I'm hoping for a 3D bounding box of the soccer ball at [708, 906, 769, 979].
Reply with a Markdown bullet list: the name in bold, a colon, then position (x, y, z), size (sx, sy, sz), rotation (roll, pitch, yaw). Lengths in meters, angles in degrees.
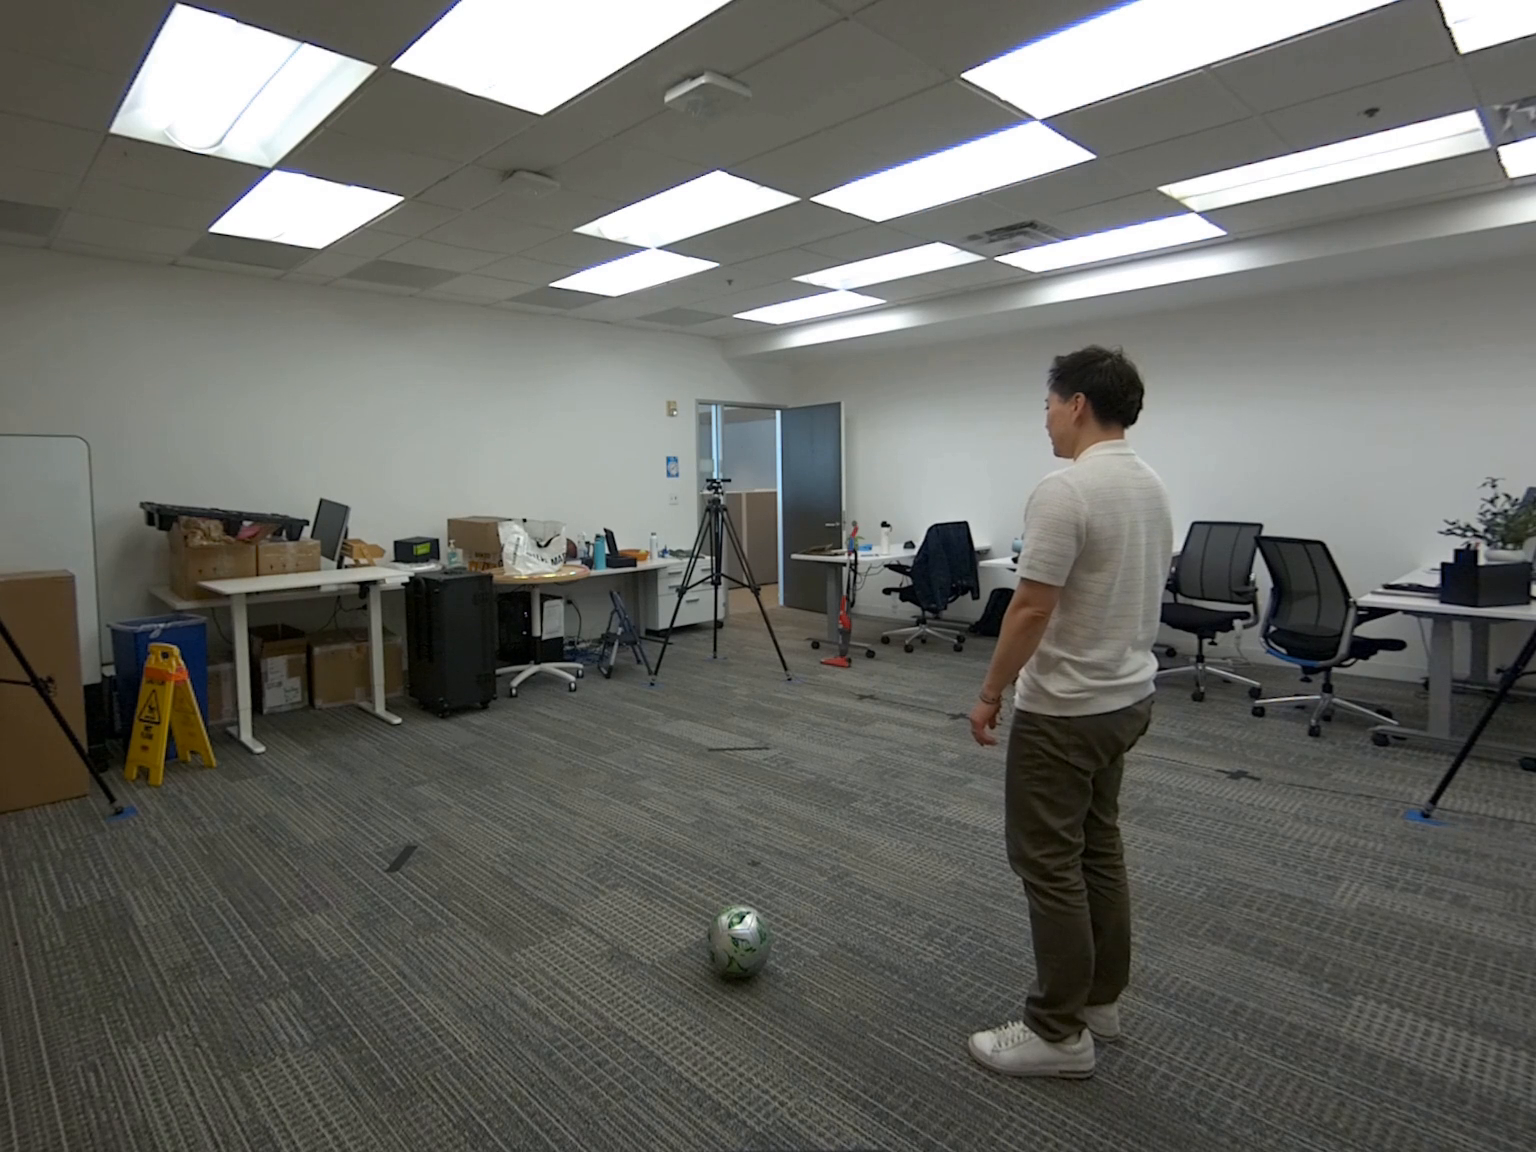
- **soccer ball**: position (-0.079, 1.034, 2.416), size (0.187, 0.187, 0.188), rotation (-1, 5, -2)
